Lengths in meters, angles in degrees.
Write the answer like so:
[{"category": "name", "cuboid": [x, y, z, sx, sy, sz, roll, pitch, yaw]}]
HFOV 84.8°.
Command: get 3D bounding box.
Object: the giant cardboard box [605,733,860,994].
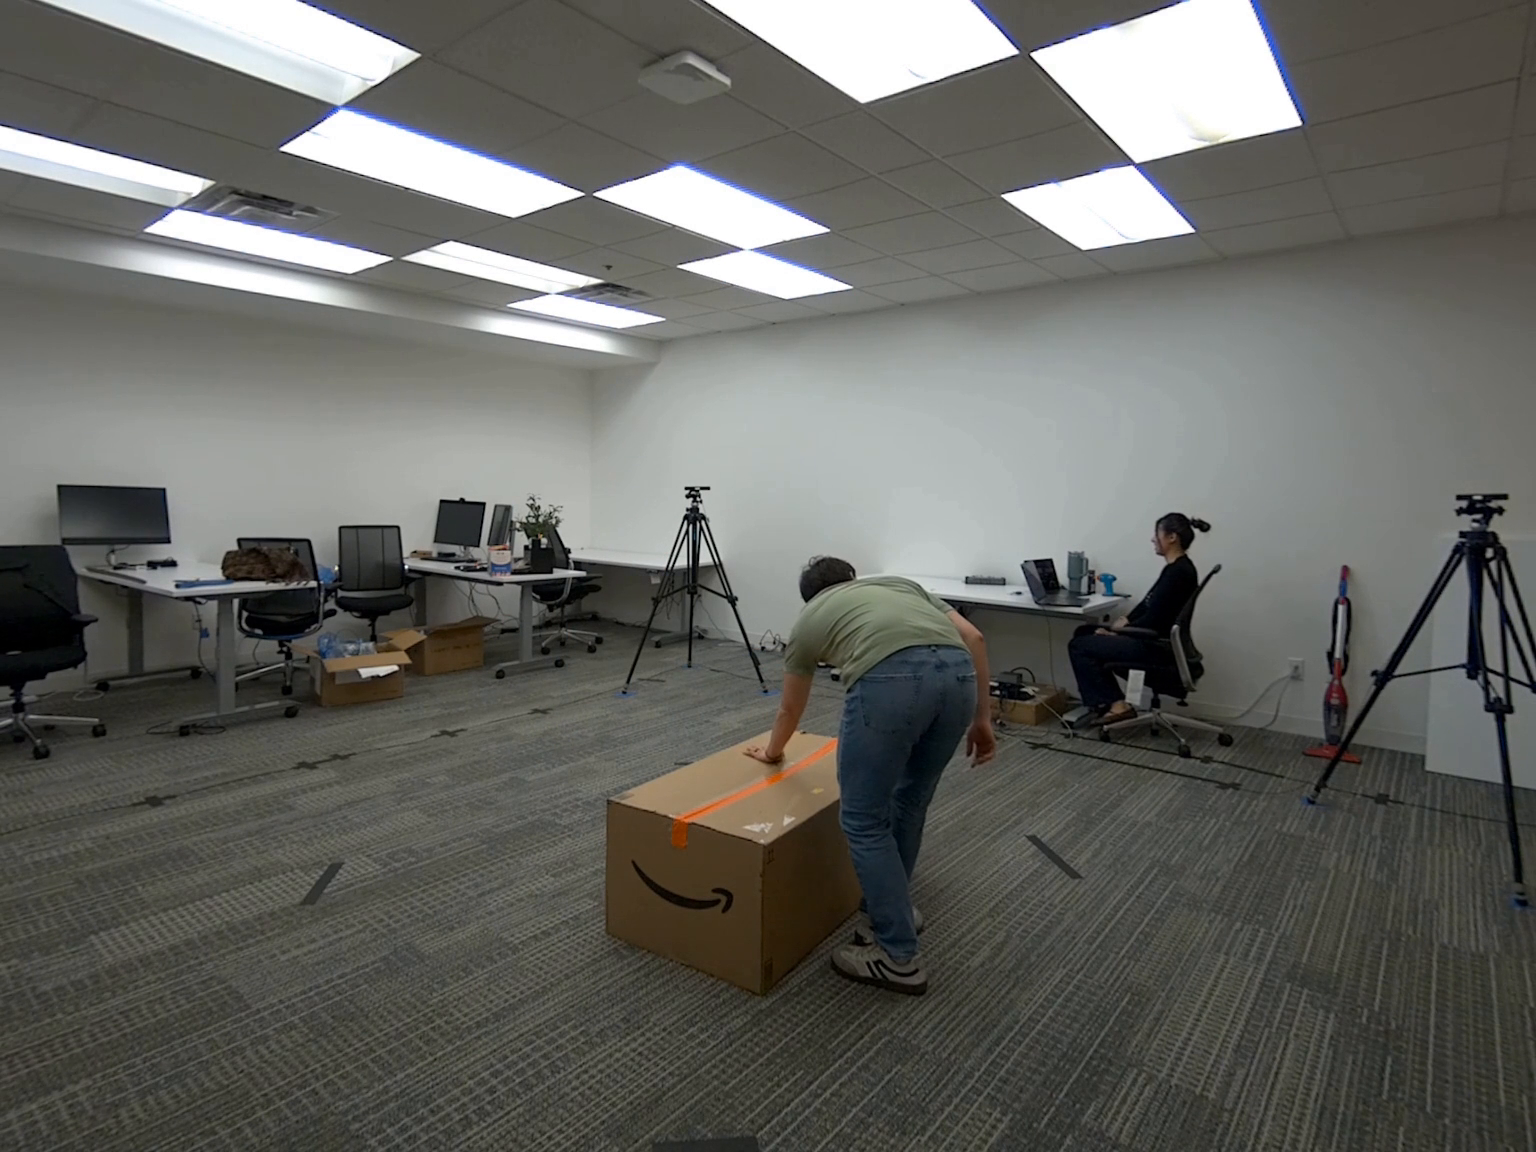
[{"category": "giant cardboard box", "cuboid": [-0.004, 0.880, 2.888, 0.596, 0.424, 0.998, 4, 6, 32]}]
